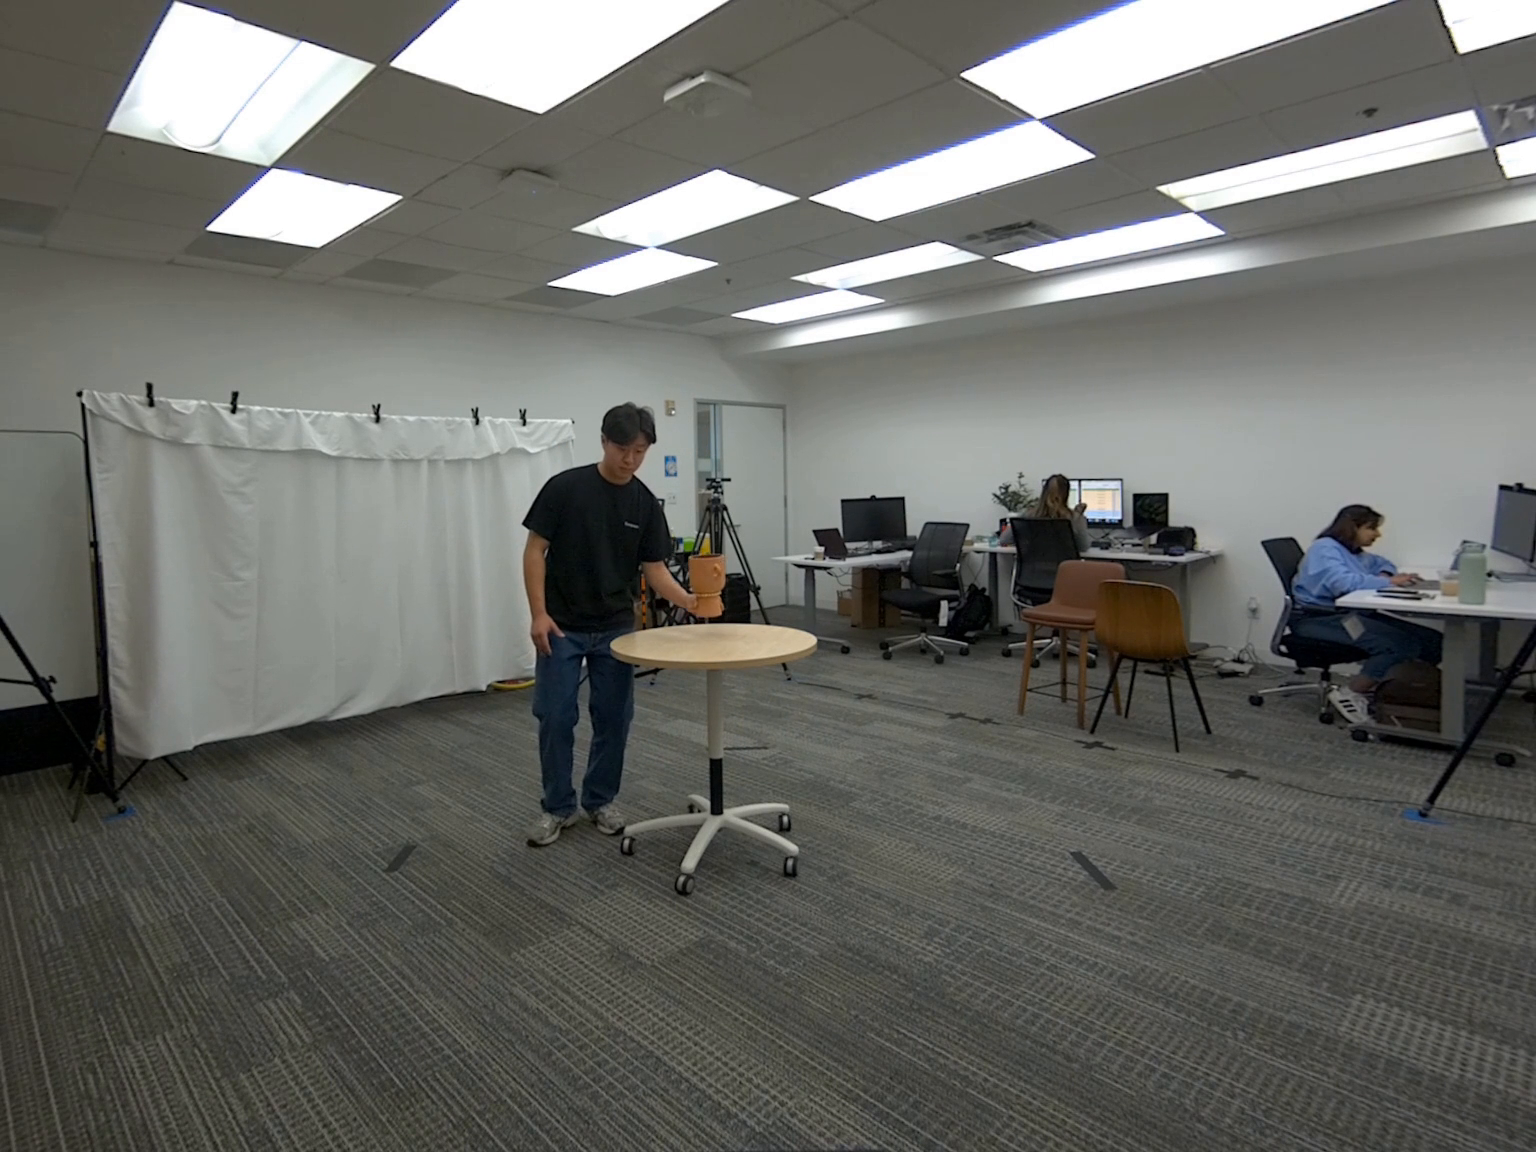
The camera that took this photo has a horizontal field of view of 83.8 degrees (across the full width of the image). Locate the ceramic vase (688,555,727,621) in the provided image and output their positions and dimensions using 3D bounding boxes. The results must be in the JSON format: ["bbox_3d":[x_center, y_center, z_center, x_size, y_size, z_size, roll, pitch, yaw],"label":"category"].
[{"bbox_3d":[-0.223,0.036,3.181,0.136,0.218,0.158,-1,7,9],"label":"ceramic vase"}]
